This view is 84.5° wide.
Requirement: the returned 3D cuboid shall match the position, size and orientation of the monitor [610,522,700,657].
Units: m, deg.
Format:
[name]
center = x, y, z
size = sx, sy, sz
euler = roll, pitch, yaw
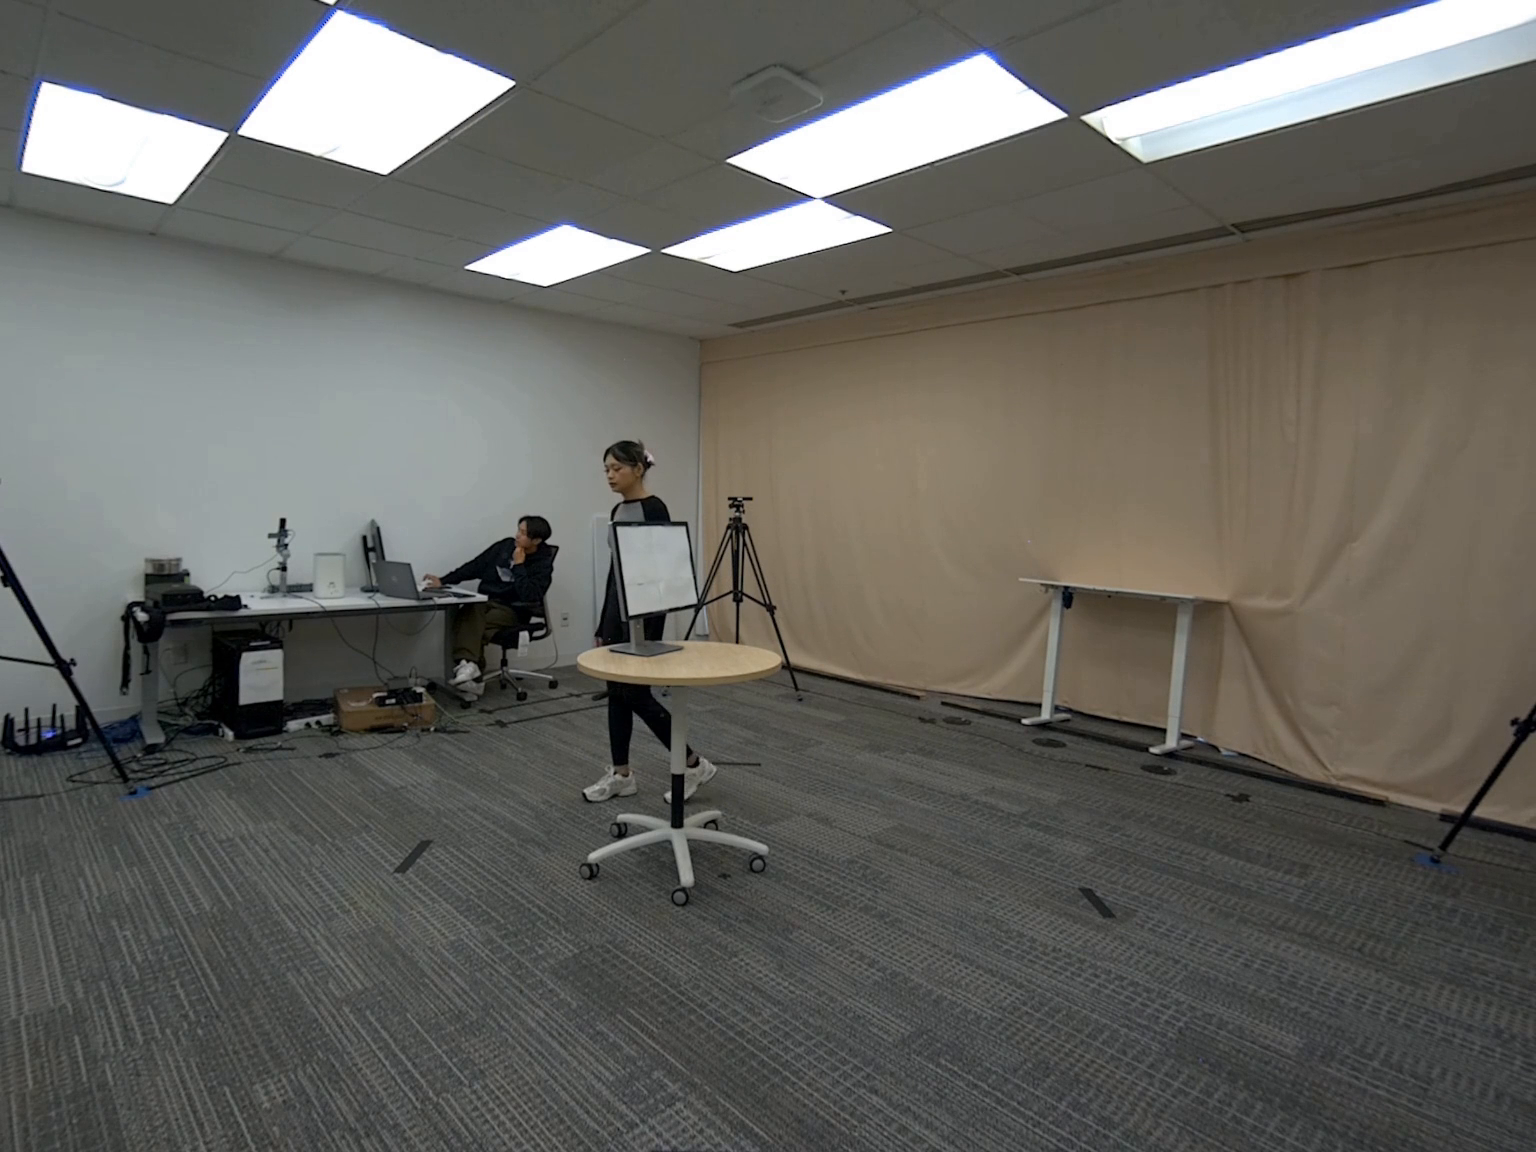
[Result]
[monitor]
center = -0.482, 0.050, 3.313
size = 0.191, 0.521, 0.530
euler = 5, 4, 24
